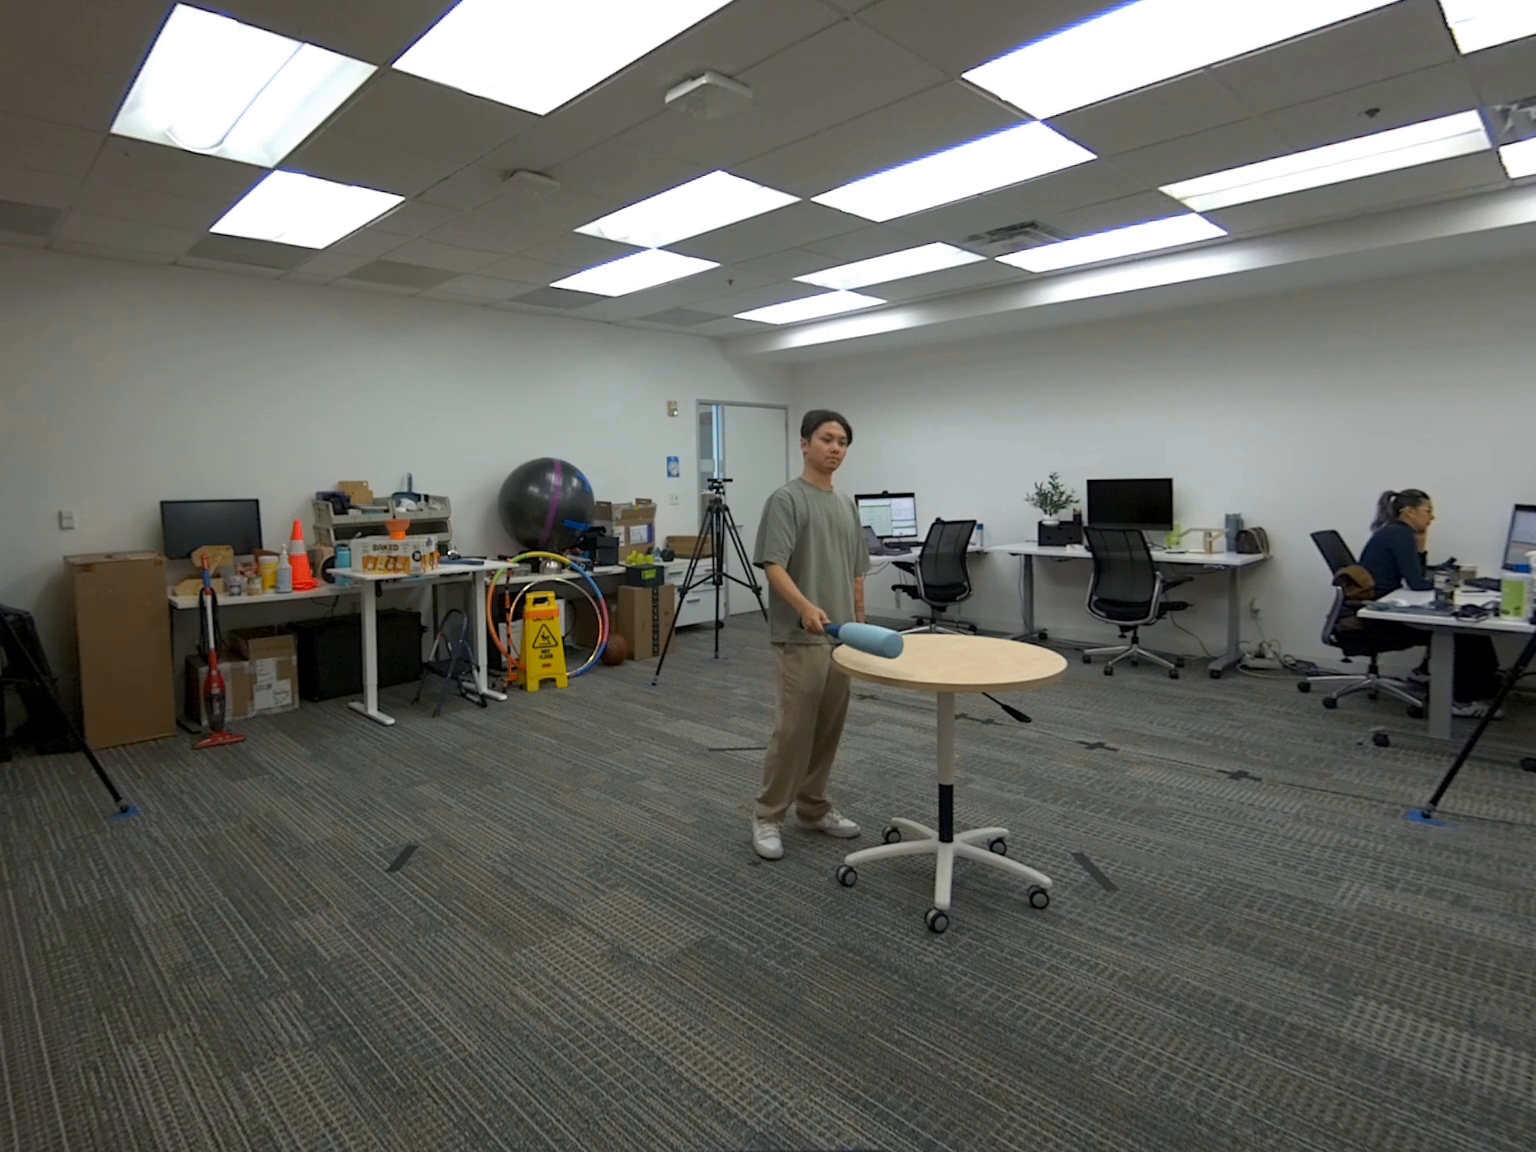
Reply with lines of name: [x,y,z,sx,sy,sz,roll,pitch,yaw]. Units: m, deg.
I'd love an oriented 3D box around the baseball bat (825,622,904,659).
baseball bat: [0.249,0.191,2.782,0.087,0.089,0.556,-3,5,-26]
